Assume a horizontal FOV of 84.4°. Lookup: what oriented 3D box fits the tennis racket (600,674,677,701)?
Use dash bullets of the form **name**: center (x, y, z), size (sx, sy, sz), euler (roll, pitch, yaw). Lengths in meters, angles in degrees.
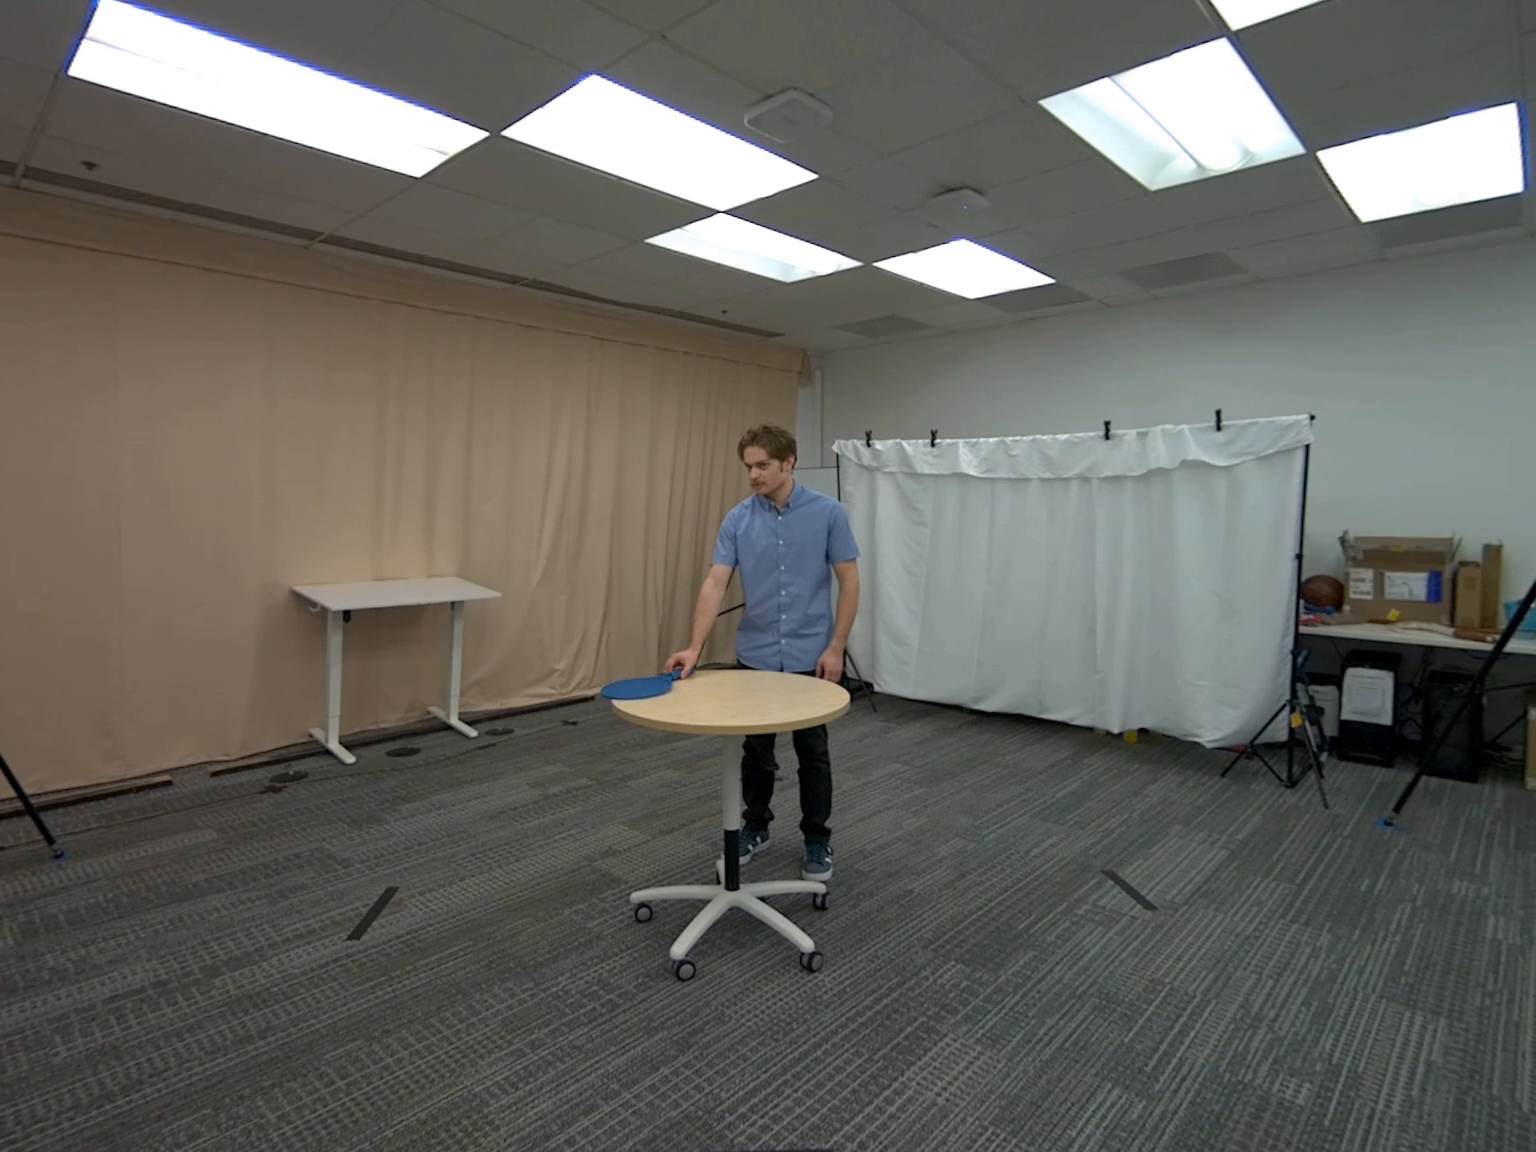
- **tennis racket**: center (-0.419, 0.366, 2.843), size (0.220, 0.031, 0.422), euler (5, 8, 29)
